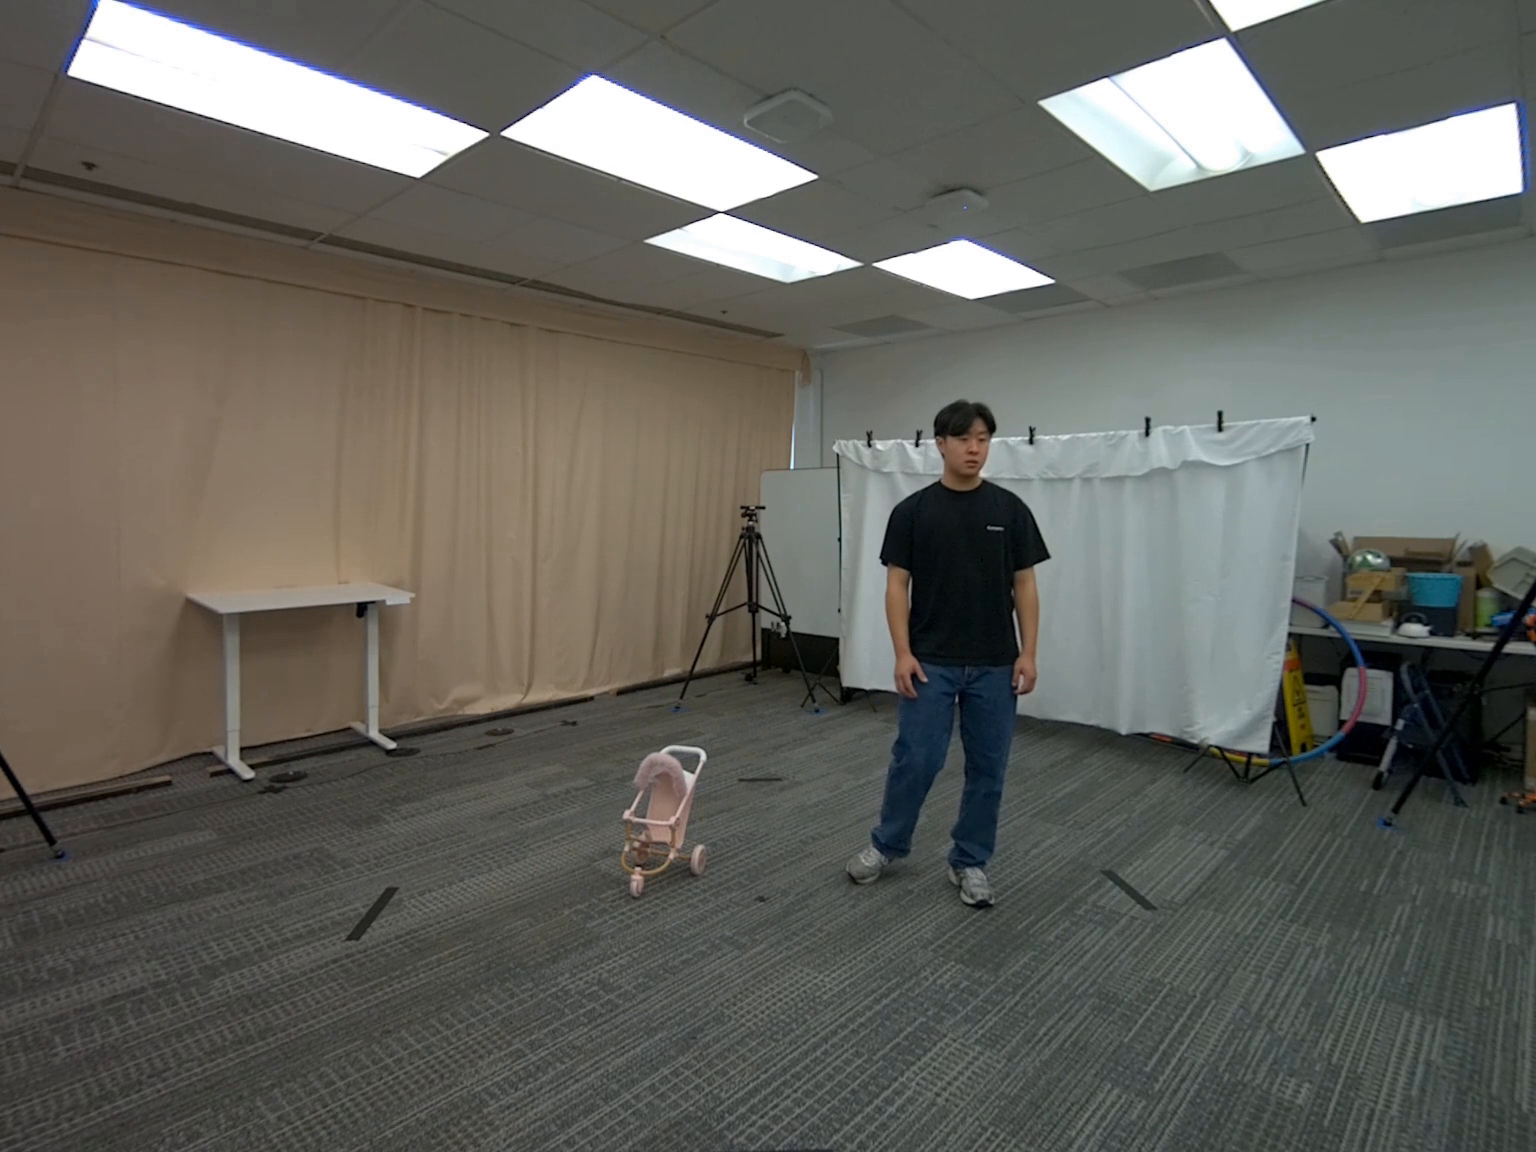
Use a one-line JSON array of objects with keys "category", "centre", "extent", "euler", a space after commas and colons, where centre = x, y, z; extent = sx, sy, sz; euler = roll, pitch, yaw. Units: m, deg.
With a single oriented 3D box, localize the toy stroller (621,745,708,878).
[{"category": "toy stroller", "centre": [-0.406, 0.909, 3.171], "extent": [0.289, 0.538, 0.330], "euler": [0, -13, 26]}]
